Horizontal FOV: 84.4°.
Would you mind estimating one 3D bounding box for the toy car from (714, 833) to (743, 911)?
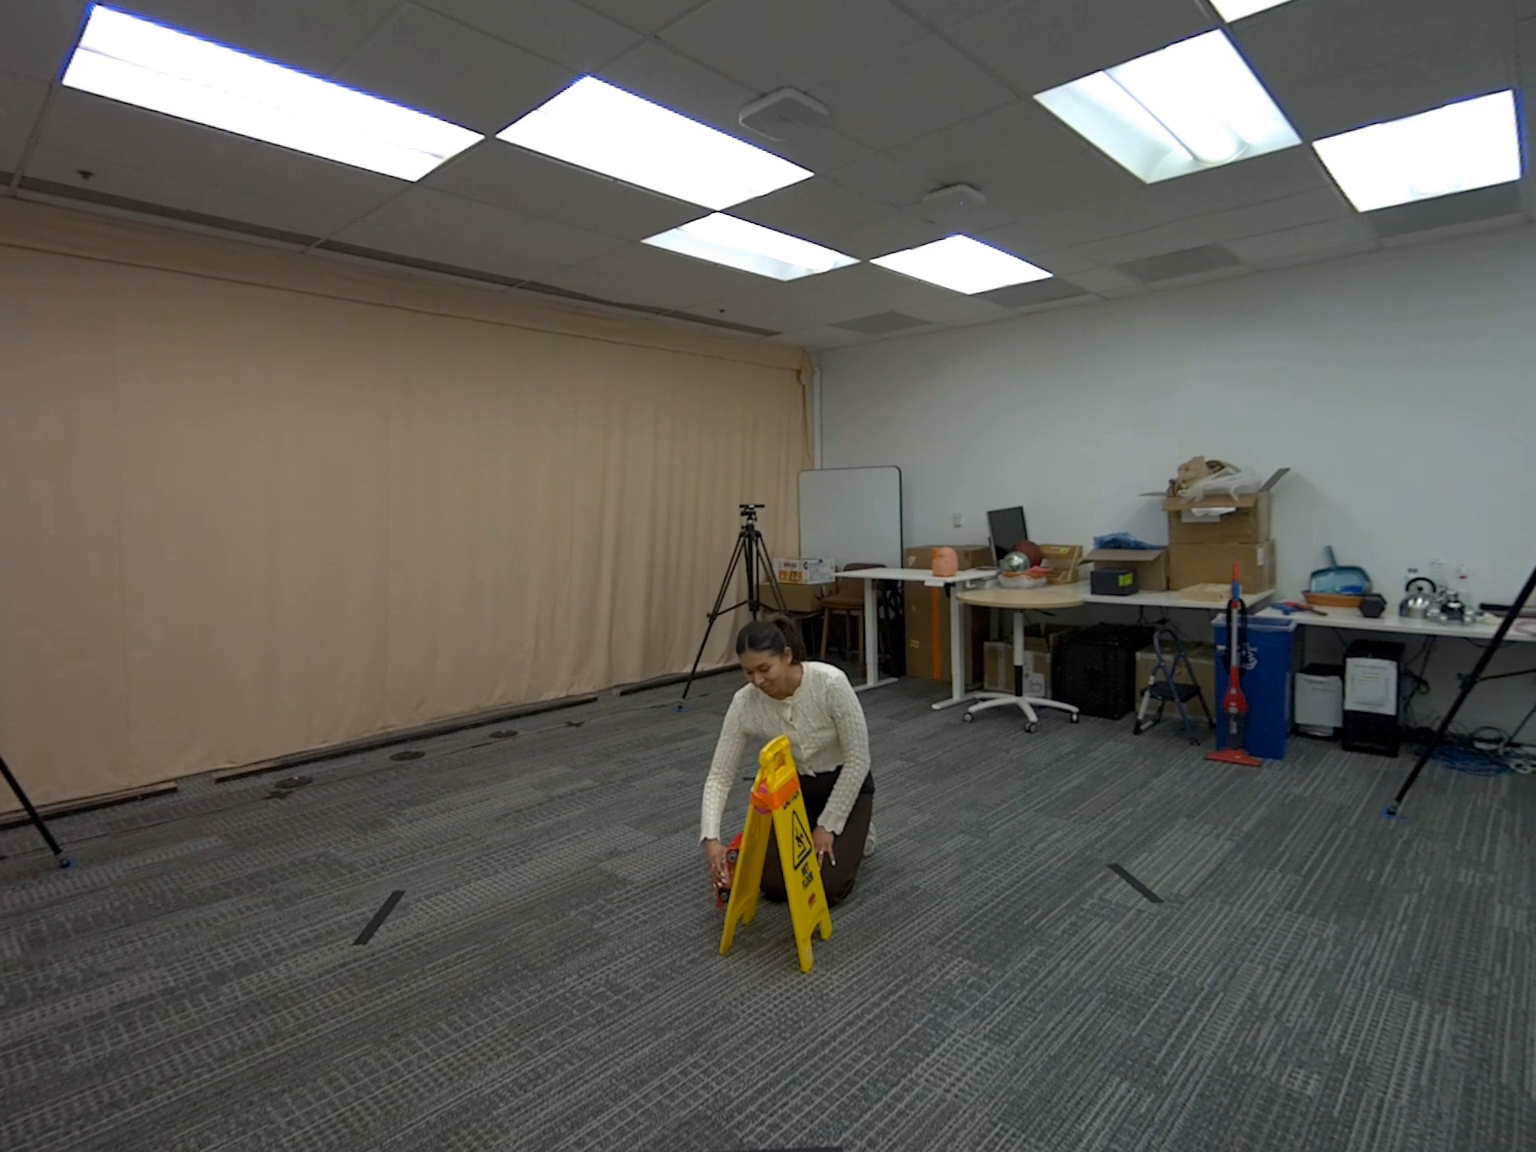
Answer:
[{"bbox_3d":[-0.114,0.959,2.706,0.085,0.254,0.128,27,18,16],"label":"toy car"}]
